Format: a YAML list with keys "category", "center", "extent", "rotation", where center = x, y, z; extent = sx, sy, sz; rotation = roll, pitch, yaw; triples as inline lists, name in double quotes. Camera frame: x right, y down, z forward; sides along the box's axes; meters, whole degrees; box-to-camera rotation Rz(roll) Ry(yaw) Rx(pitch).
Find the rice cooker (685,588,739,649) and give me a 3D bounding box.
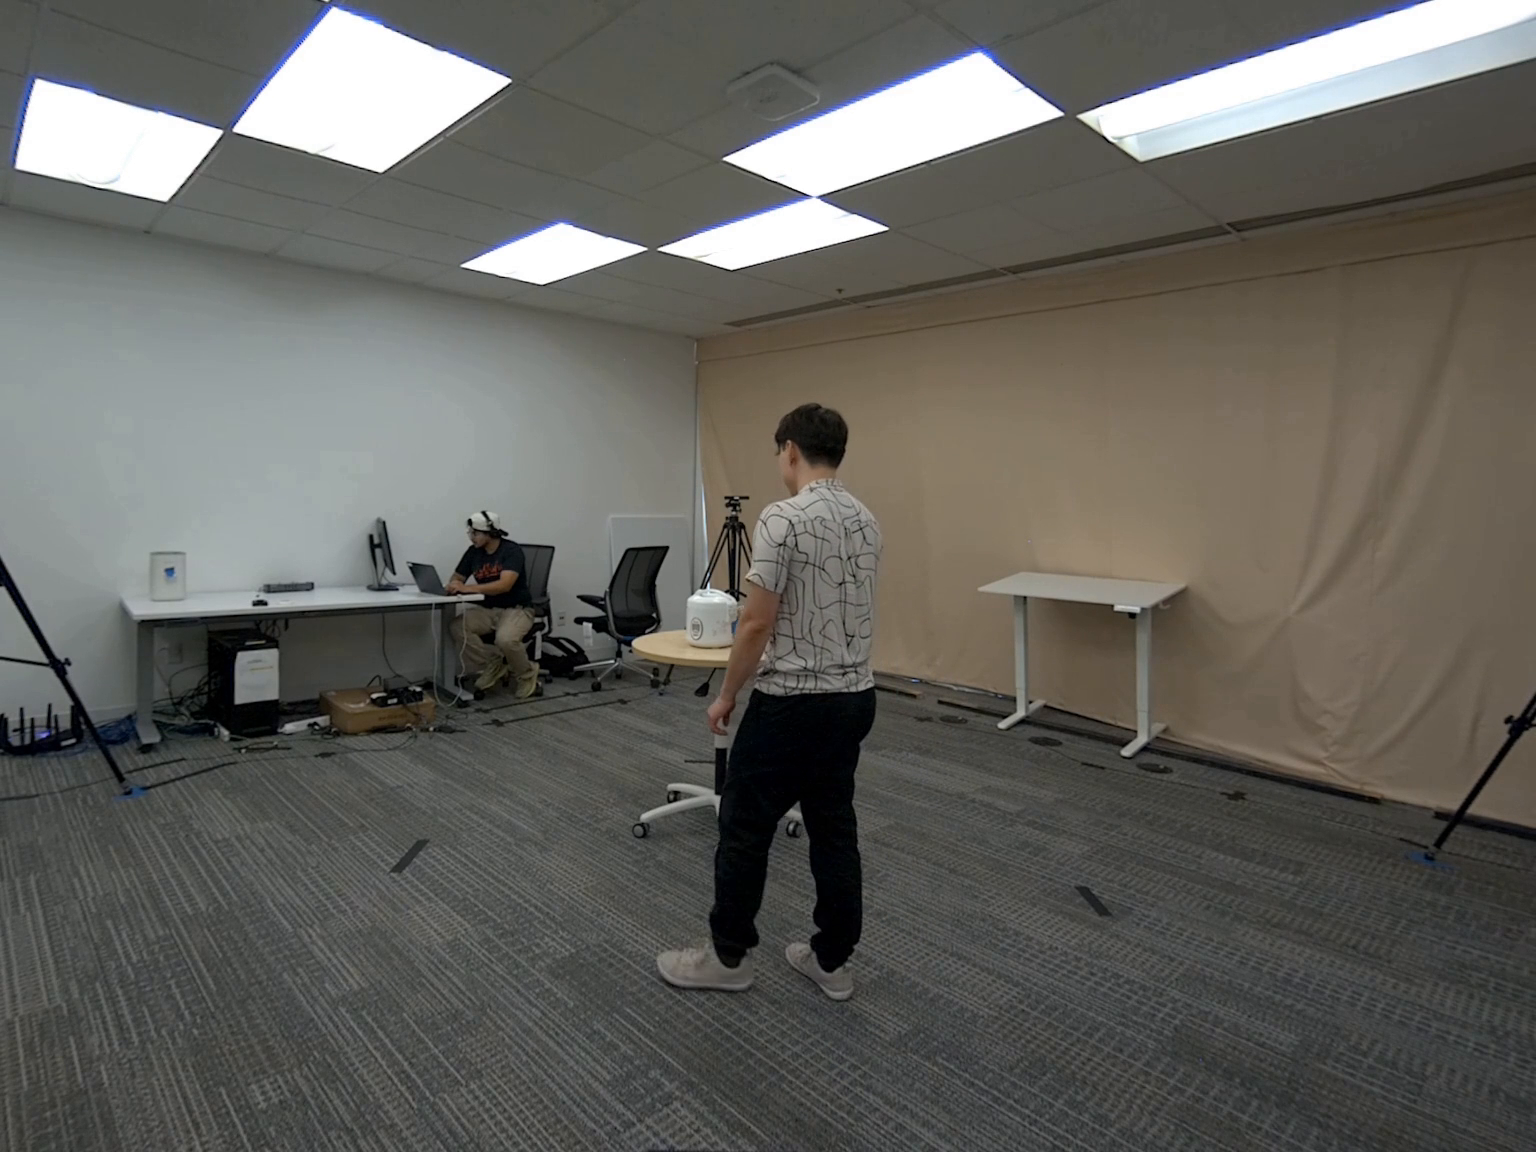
- category: "rice cooker"
  center: [-0.238, 0.171, 3.473]
  extent: [0.225, 0.232, 0.213]
  rotation: [3, 4, 31]
